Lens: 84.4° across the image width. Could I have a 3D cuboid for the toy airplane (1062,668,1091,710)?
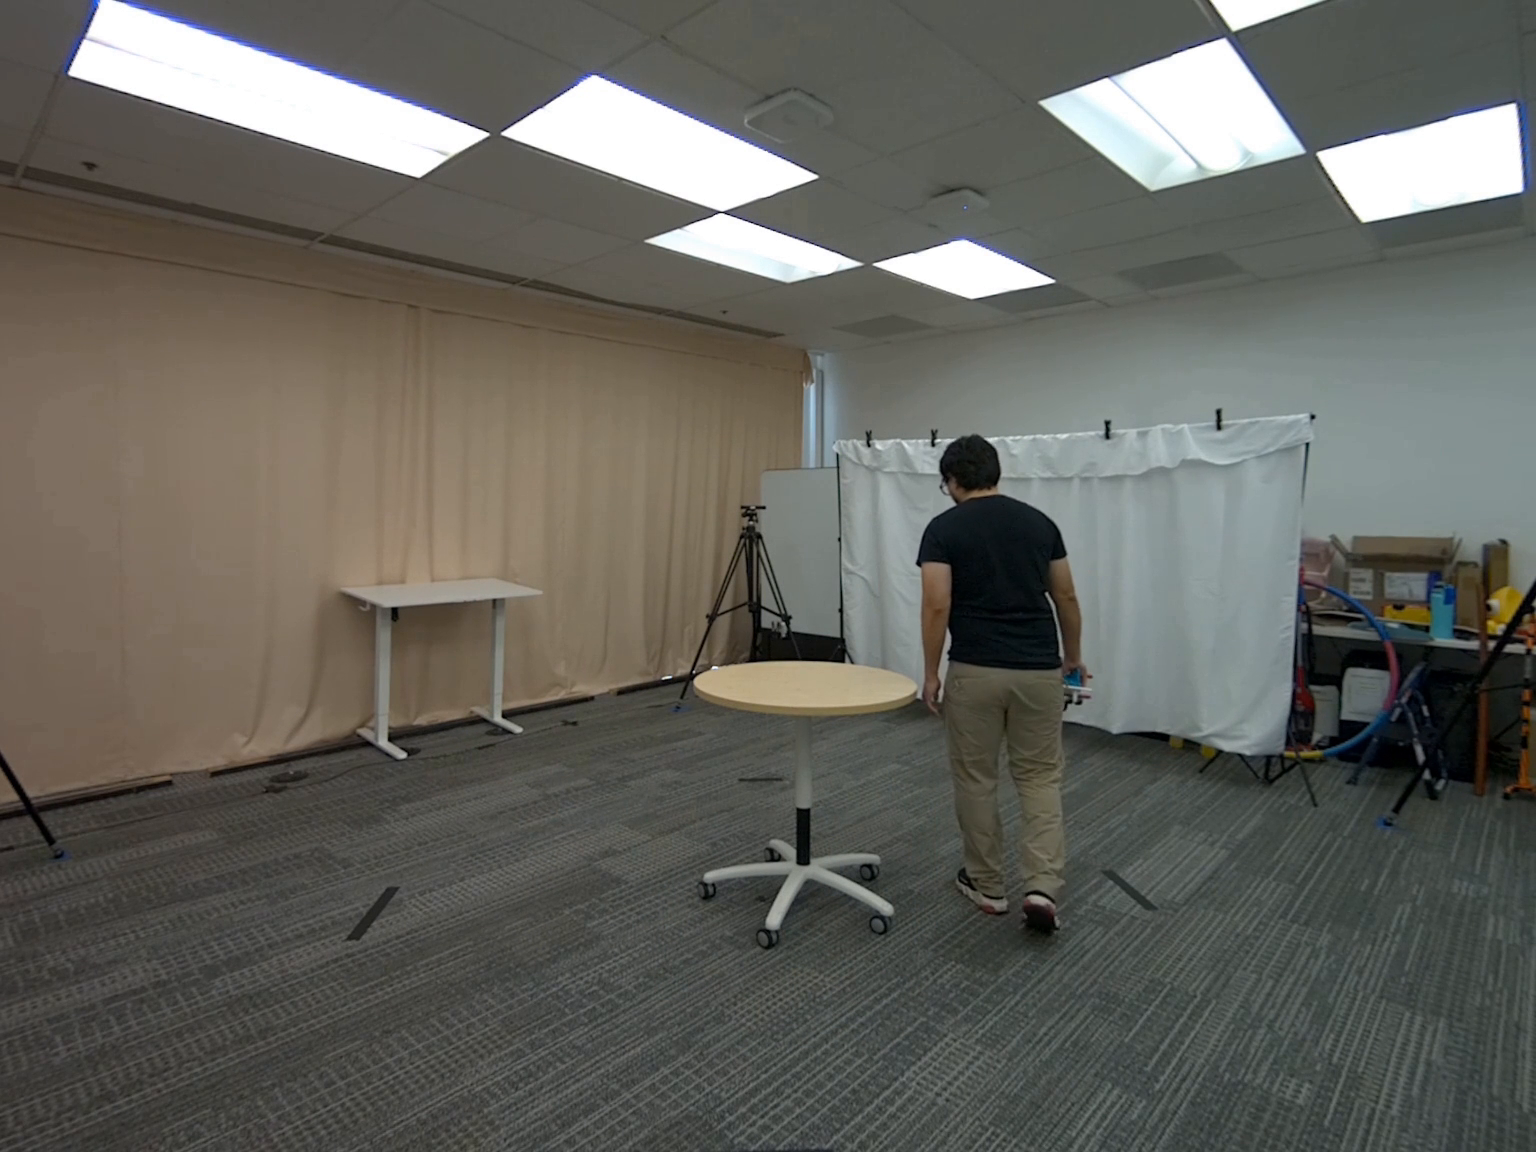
[{"bbox_3d":[1.102,0.415,3.101,0.244,0.157,0.265,18,-18,-28],"label":"toy airplane"}]
